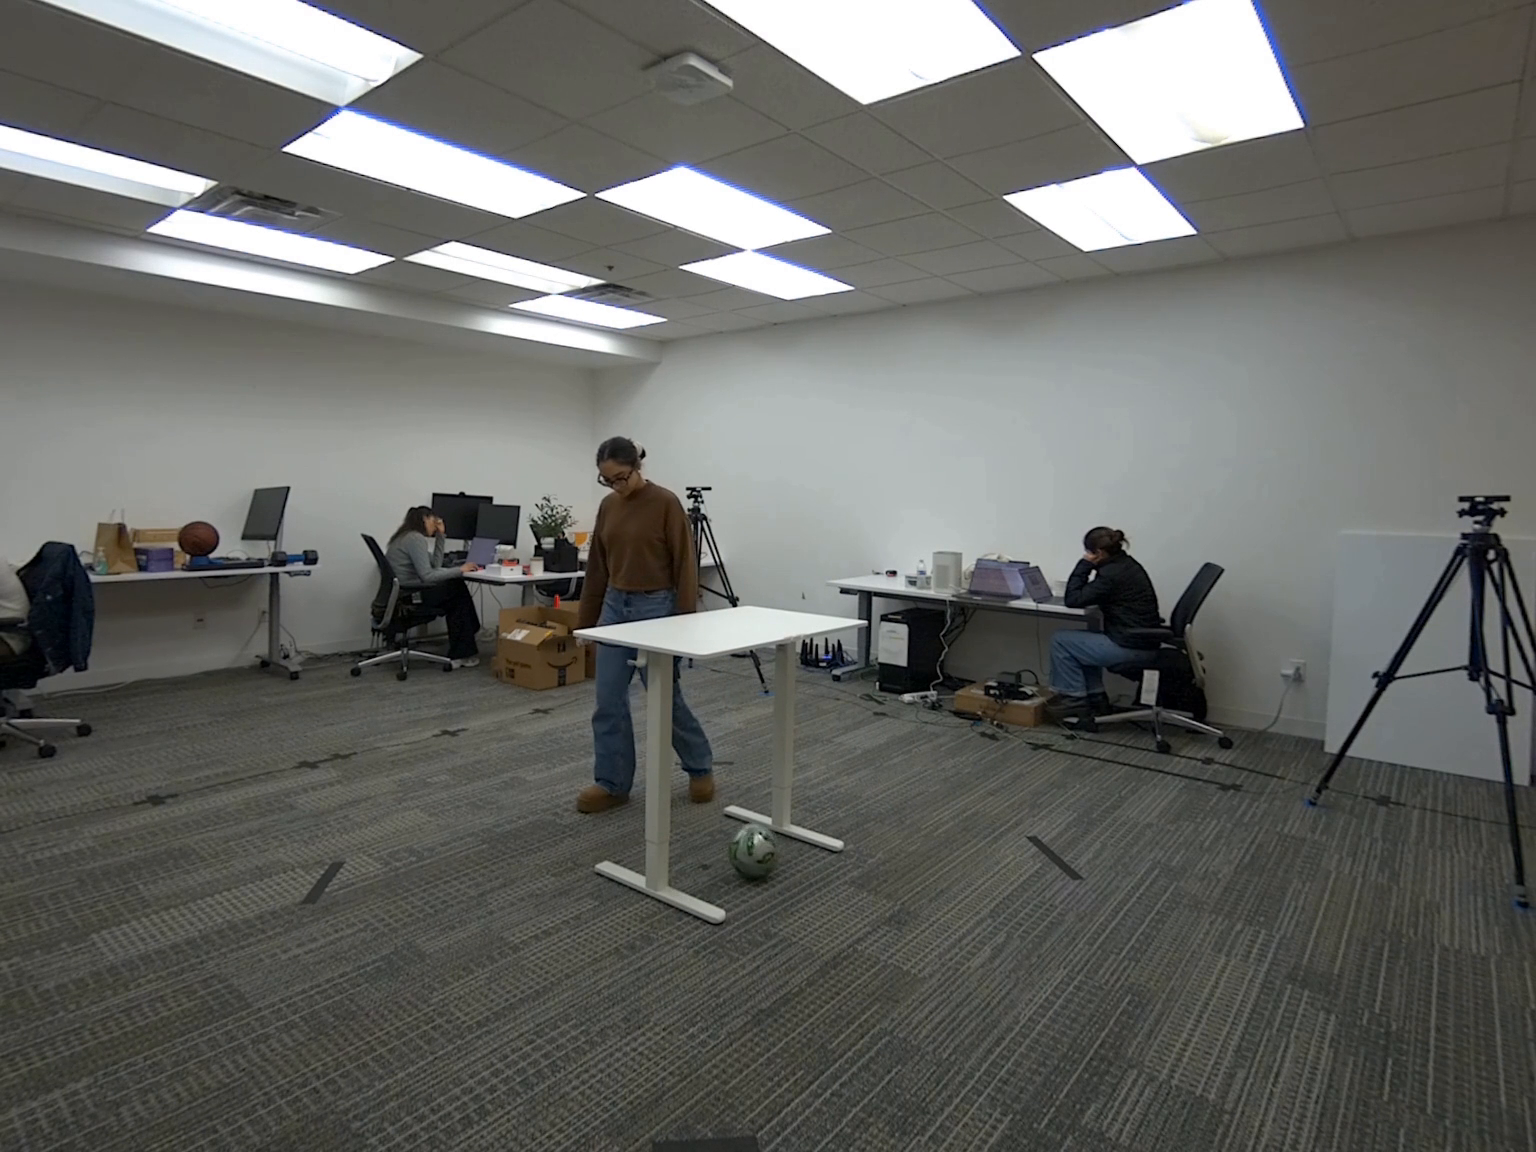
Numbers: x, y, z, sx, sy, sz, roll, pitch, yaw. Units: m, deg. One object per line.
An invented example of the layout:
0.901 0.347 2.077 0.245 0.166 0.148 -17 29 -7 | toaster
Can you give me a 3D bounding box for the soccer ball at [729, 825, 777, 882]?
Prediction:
-0.058 0.983 3.046 0.187 0.187 0.188 1 4 -2 | soccer ball
